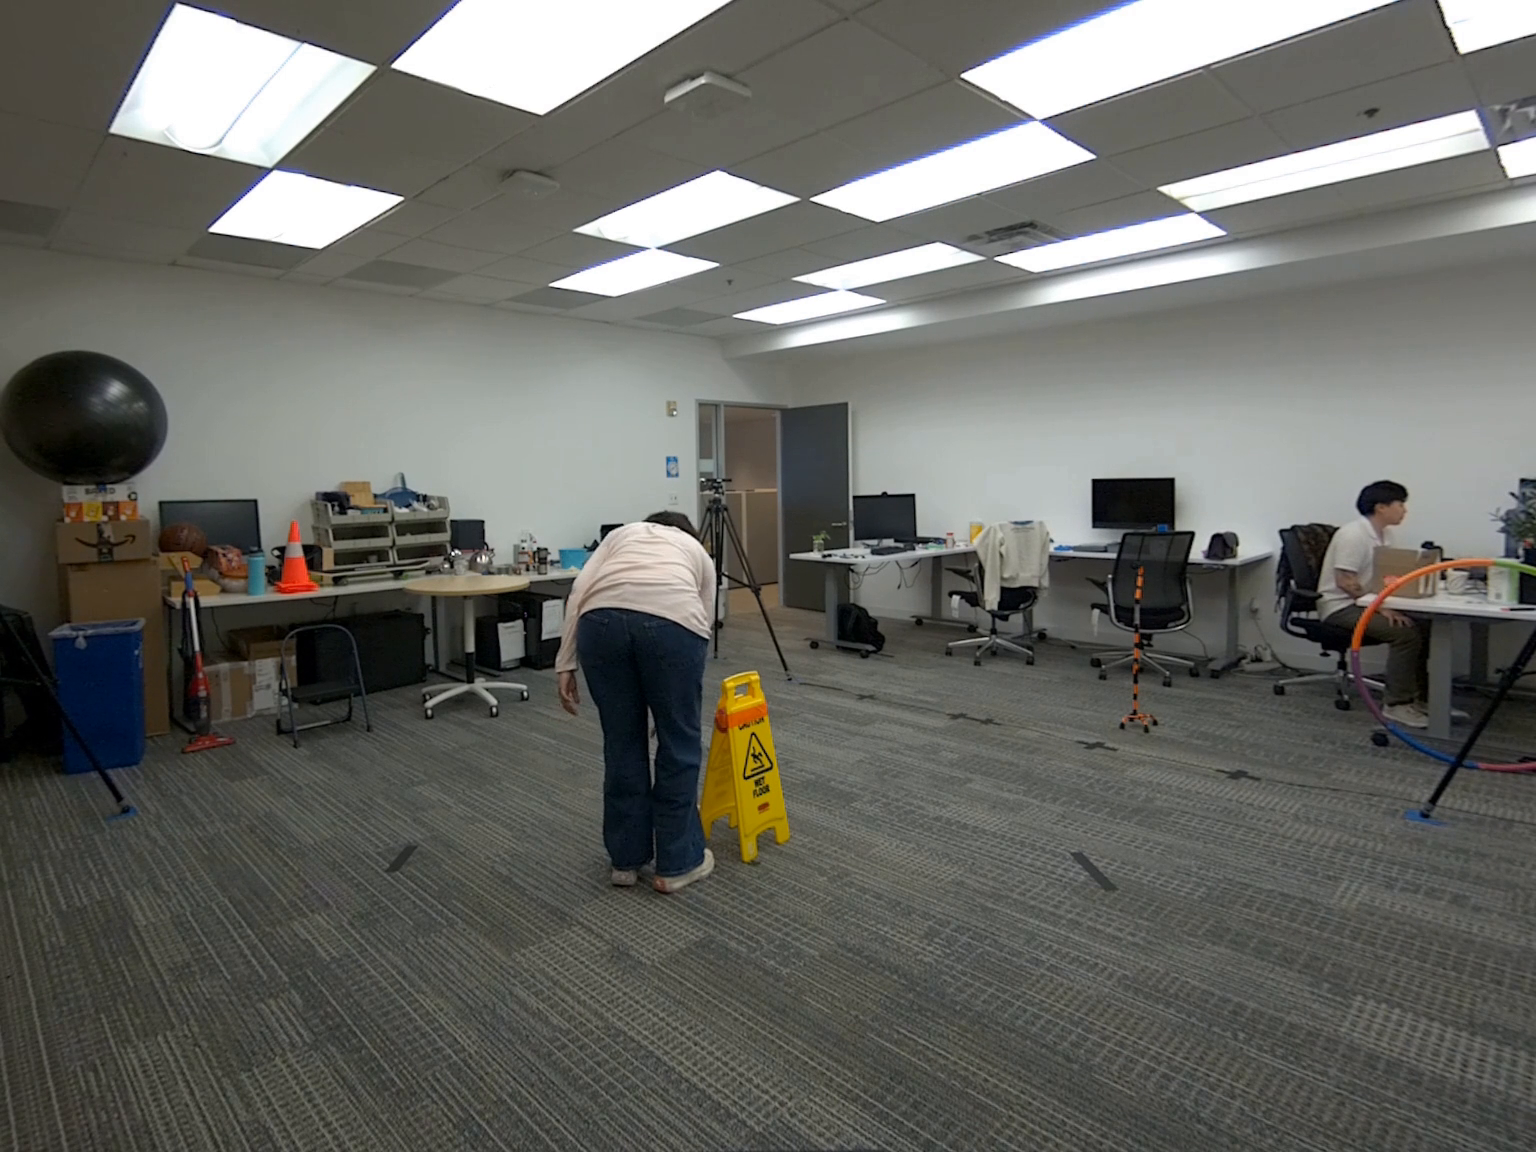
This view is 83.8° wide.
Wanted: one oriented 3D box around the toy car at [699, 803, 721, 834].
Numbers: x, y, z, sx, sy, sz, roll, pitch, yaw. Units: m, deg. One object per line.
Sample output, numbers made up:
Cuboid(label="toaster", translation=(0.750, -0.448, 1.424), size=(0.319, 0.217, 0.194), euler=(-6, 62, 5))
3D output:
Cuboid(label="toy car", translation=(-0.328, 0.981, 3.455), size=(0.134, 0.083, 0.246), euler=(5, -3, 38))
